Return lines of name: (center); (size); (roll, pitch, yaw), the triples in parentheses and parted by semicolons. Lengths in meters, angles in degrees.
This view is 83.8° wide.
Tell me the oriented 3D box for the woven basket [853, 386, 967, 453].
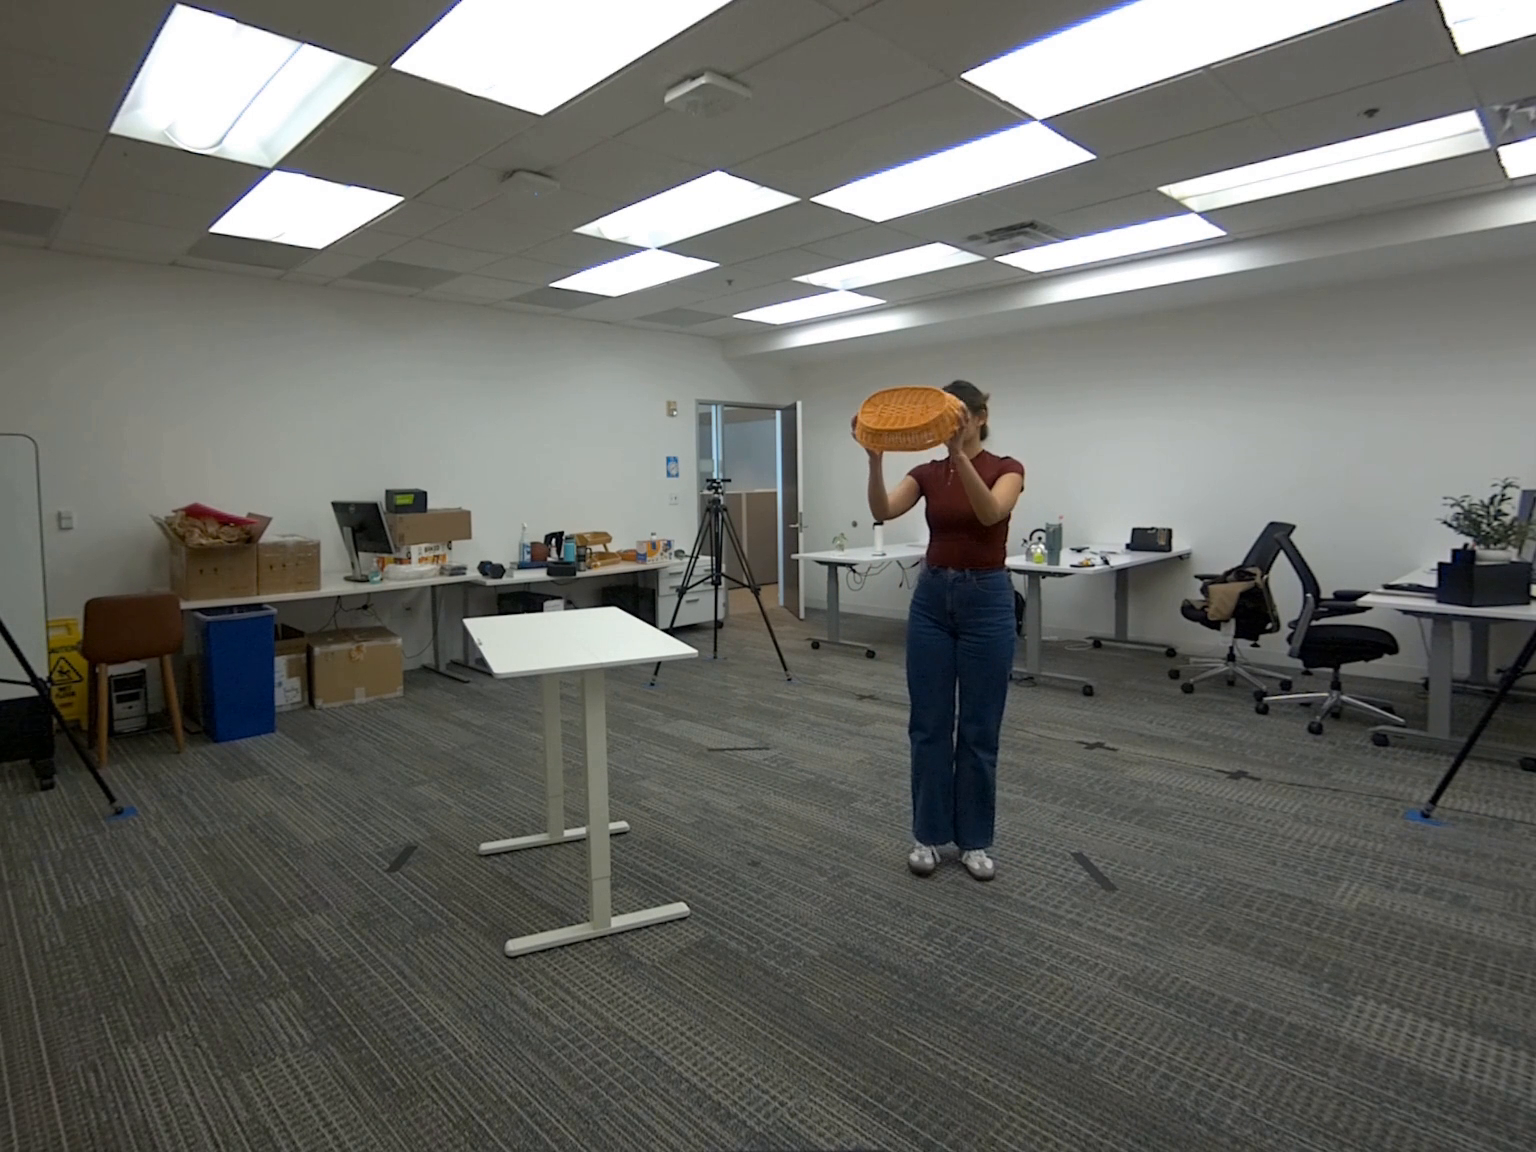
woven basket: (0.427, -0.497, 2.614); (0.360, 0.255, 0.070); (2, -34, 33)
